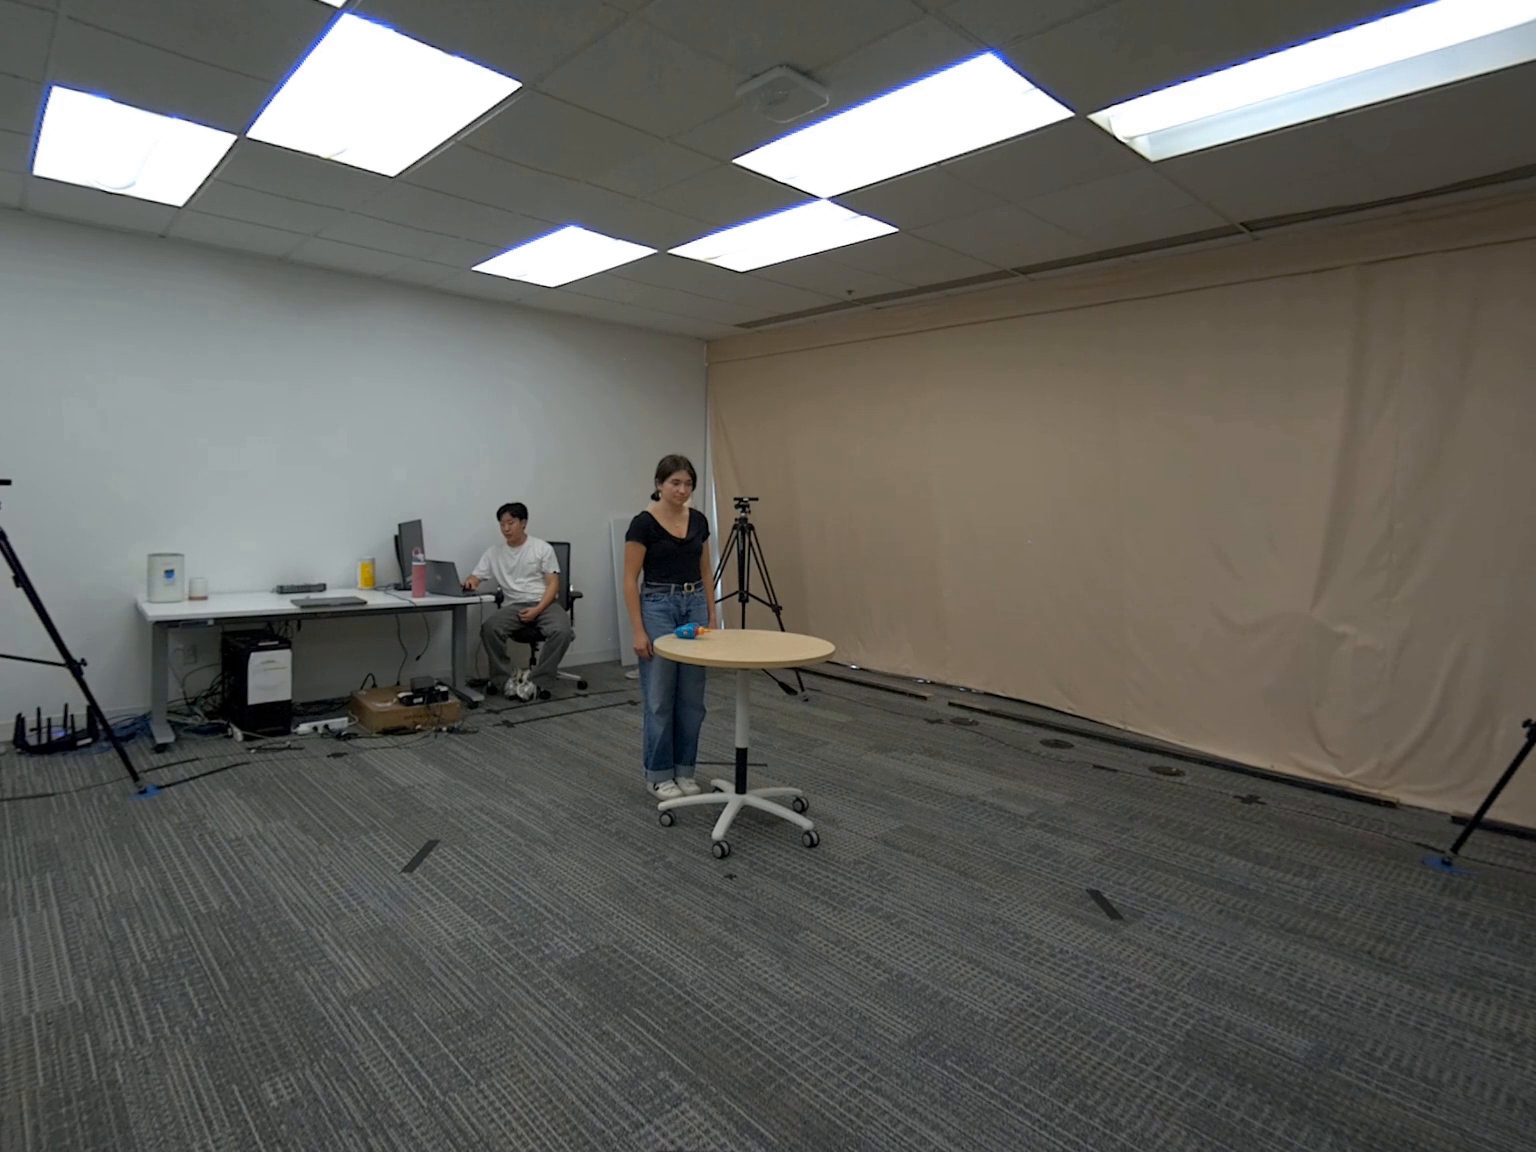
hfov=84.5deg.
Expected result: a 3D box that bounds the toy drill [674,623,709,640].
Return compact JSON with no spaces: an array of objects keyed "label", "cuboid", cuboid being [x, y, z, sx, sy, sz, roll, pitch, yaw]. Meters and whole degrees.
[{"label":"toy drill","cuboid":[-0.339,0.240,3.684,0.172,0.061,0.144,-5,2,15]}]
